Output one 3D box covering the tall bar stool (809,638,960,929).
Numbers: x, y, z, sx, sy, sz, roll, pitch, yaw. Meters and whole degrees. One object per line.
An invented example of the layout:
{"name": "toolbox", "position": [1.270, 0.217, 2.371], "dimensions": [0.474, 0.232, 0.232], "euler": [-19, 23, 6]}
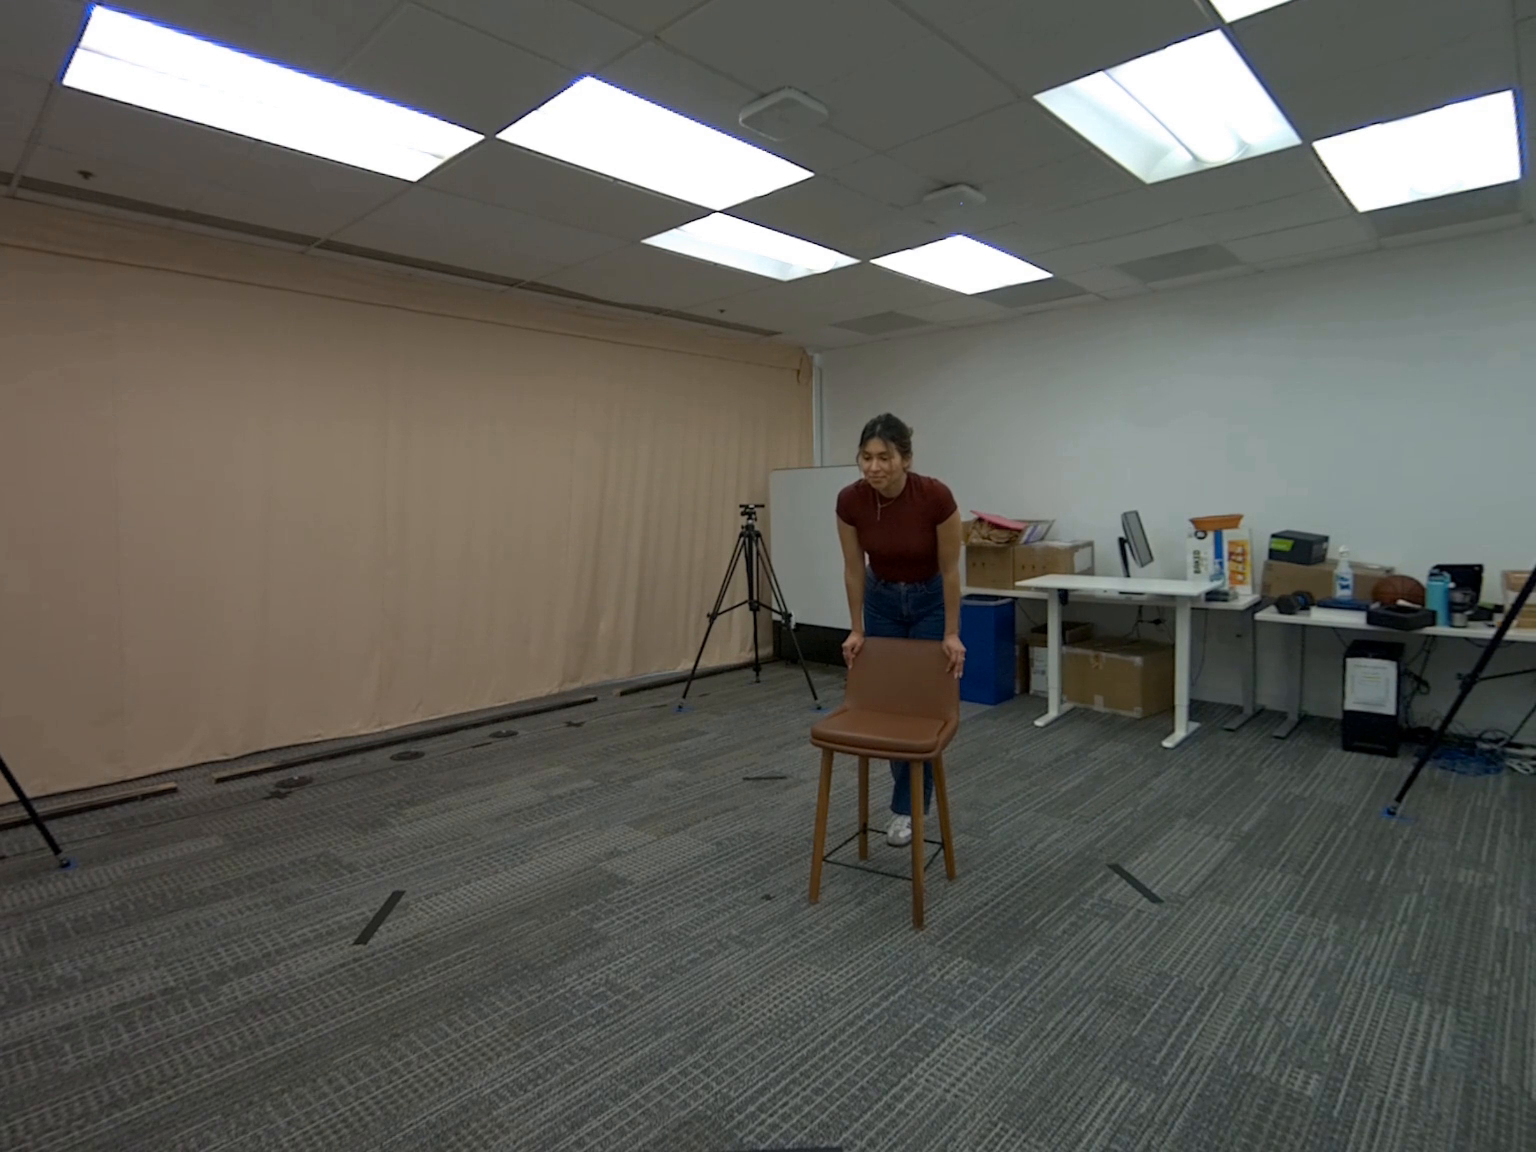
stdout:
{"name": "tall bar stool", "position": [0.428, 0.691, 3.009], "dimensions": [0.470, 0.889, 0.454], "euler": [2, 2, 31]}
